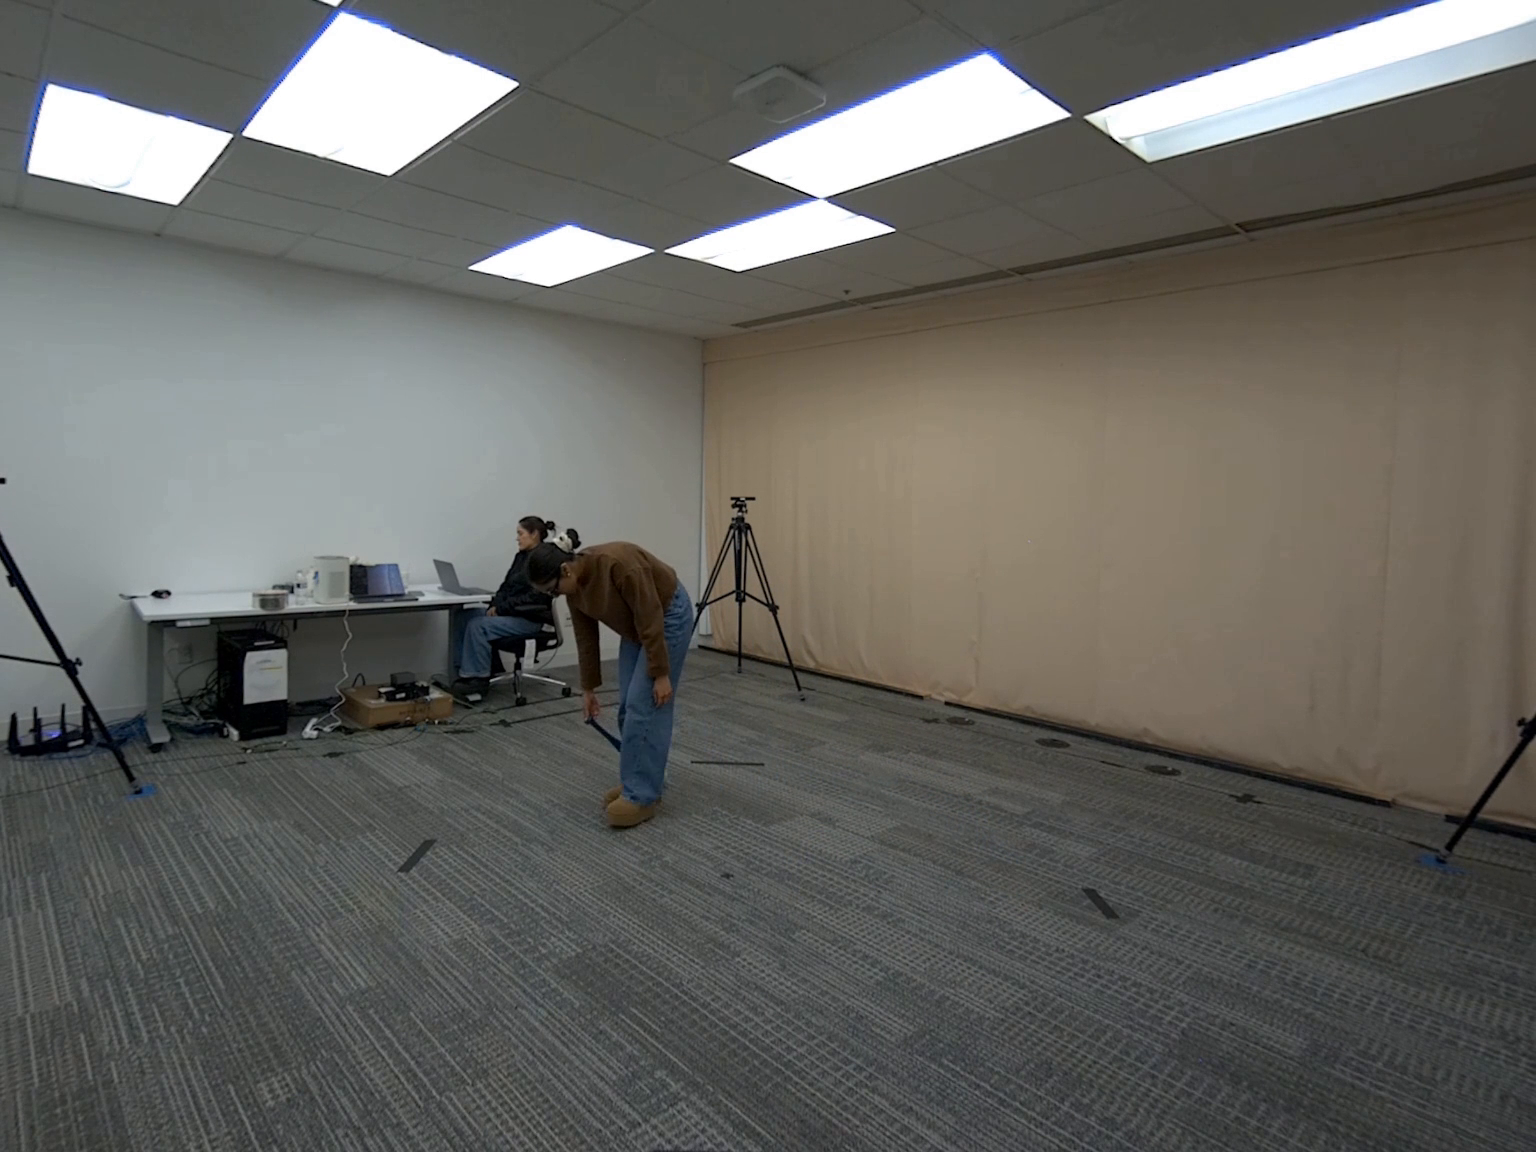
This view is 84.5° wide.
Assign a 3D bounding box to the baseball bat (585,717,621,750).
[{"bbox_3d":[-0.674,0.822,3.957,0.528,0.089,0.091,47,-22,-28],"label":"baseball bat"}]
